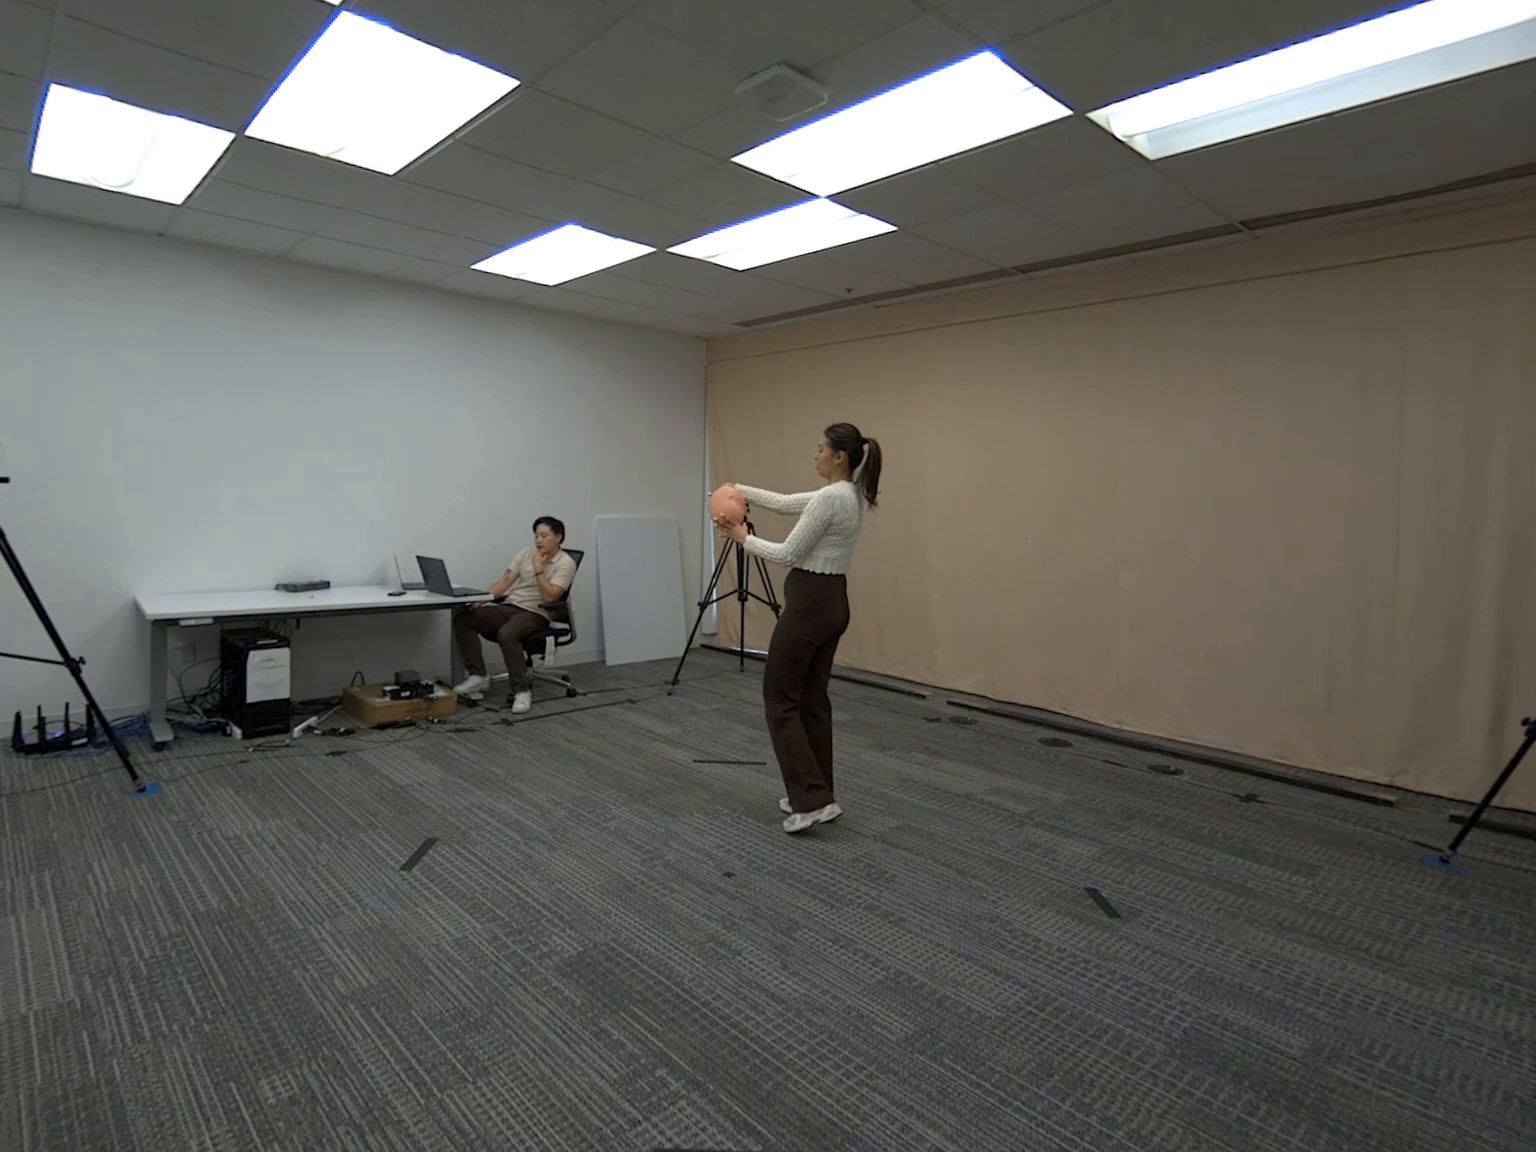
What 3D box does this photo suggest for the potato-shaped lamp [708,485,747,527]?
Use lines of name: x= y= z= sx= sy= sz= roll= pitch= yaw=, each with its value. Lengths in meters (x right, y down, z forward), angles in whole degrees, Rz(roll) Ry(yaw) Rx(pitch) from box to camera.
potato-shaped lamp: x=-0.185 y=-0.300 z=3.800 sx=0.161 sy=0.171 sz=0.203 roll=26 pitch=25 yaw=-25
